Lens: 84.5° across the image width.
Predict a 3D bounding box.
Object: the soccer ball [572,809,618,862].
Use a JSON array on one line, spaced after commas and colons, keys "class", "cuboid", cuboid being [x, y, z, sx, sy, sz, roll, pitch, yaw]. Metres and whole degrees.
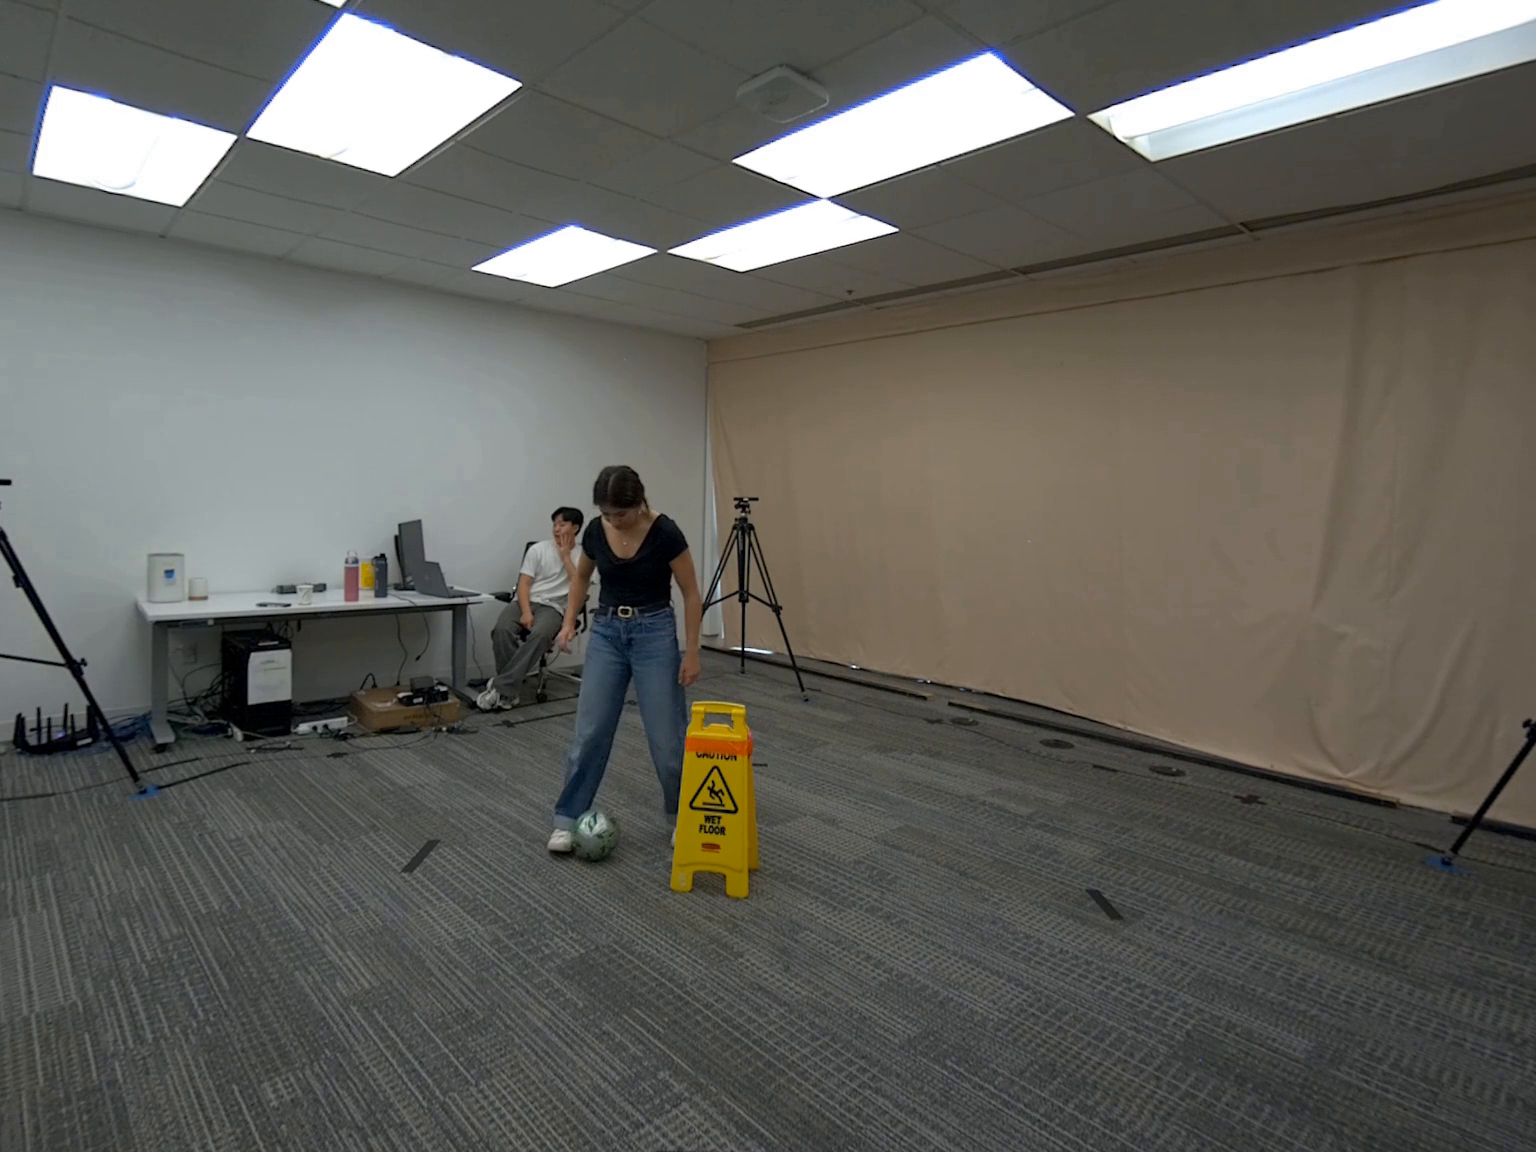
[{"class": "soccer ball", "cuboid": [-0.669, 0.997, 3.227, 0.187, 0.187, 0.188, 1, 4, -1]}]
